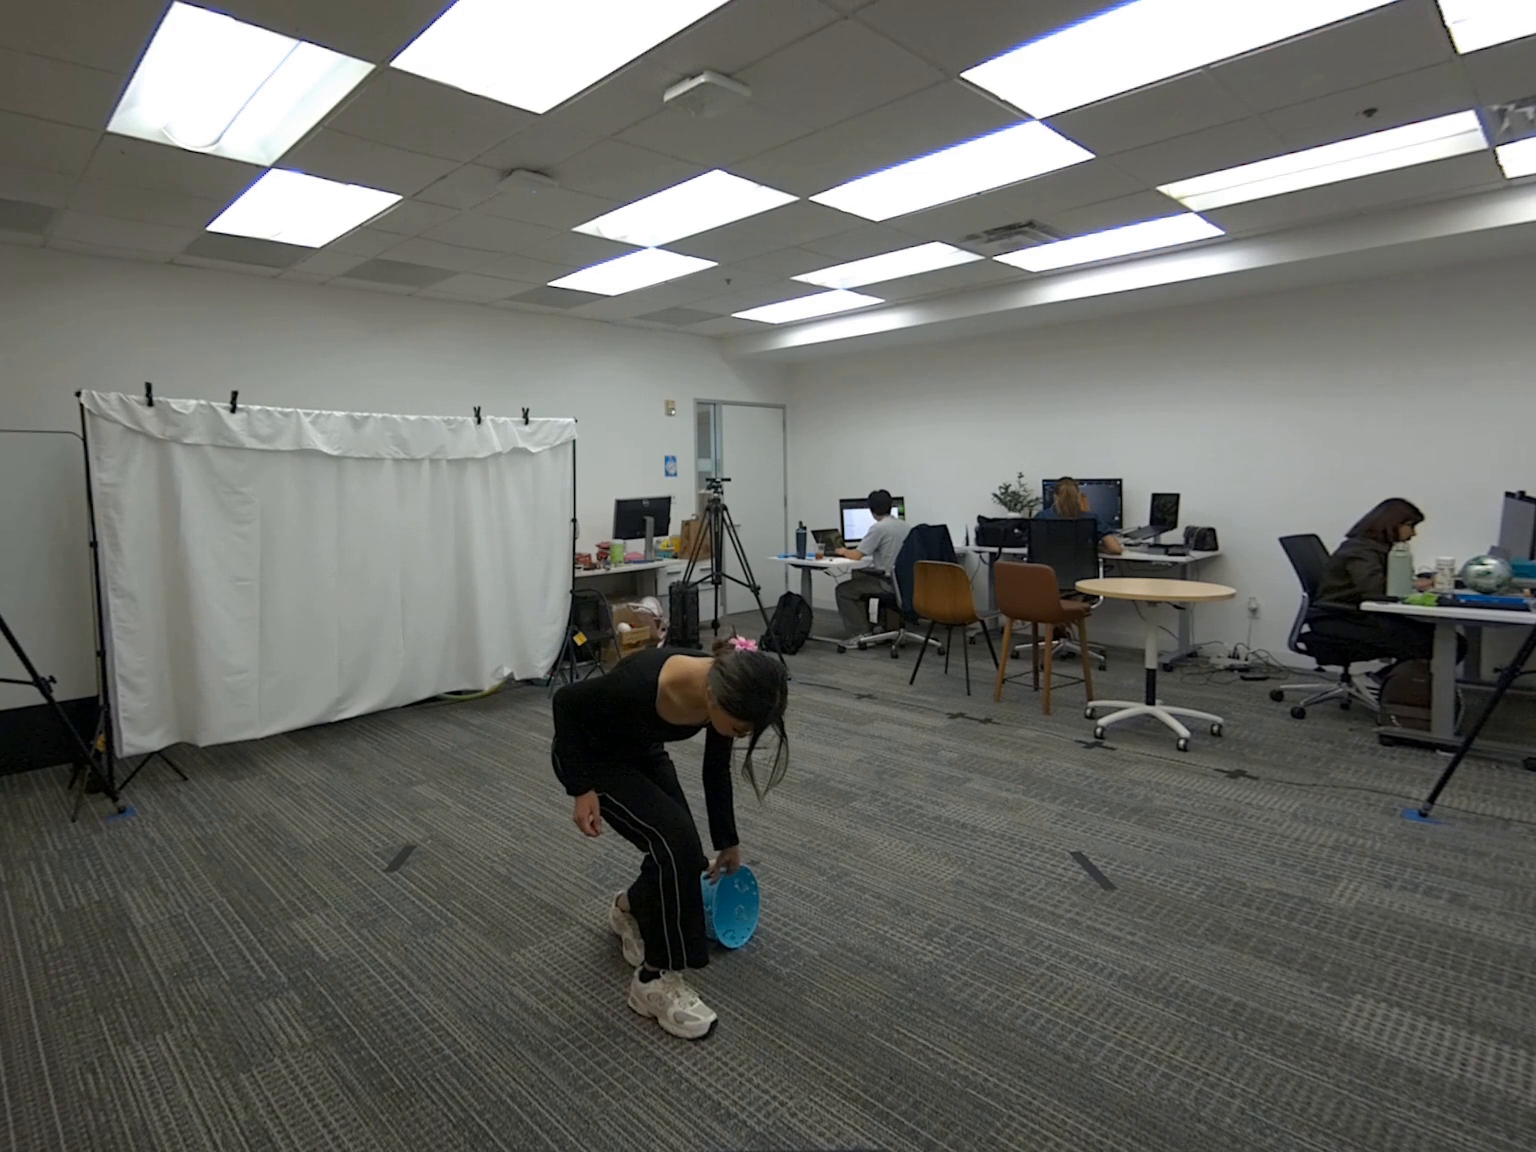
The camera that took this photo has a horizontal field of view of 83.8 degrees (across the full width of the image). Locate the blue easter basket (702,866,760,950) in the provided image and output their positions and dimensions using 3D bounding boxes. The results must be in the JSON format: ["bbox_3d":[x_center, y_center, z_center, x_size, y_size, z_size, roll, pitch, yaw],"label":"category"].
[{"bbox_3d":[-0.145,0.997,2.622,0.159,0.244,0.237,-8,-1,38],"label":"blue easter basket"}]
